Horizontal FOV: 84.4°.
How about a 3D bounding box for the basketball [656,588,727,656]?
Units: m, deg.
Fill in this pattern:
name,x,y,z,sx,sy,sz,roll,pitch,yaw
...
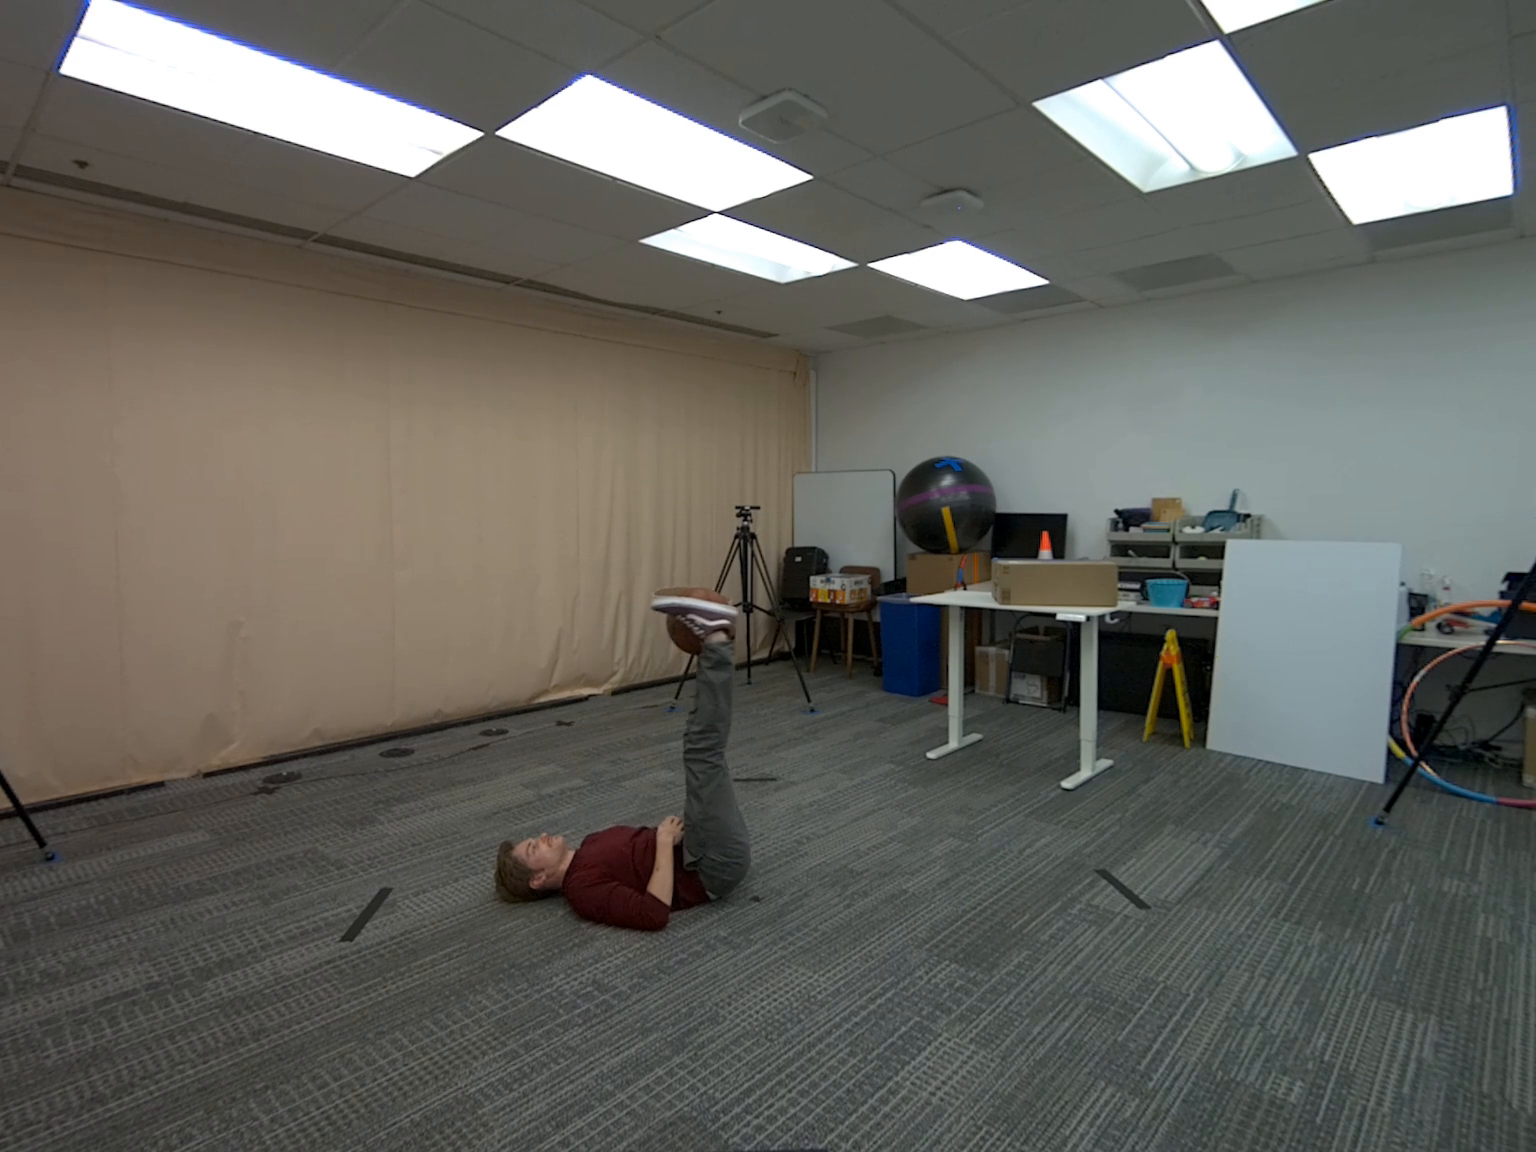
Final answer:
name,x,y,z,sx,sy,sz,roll,pitch,yaw
basketball,-0.255,0.166,2.961,0.235,0.235,0.237,3,5,-2
